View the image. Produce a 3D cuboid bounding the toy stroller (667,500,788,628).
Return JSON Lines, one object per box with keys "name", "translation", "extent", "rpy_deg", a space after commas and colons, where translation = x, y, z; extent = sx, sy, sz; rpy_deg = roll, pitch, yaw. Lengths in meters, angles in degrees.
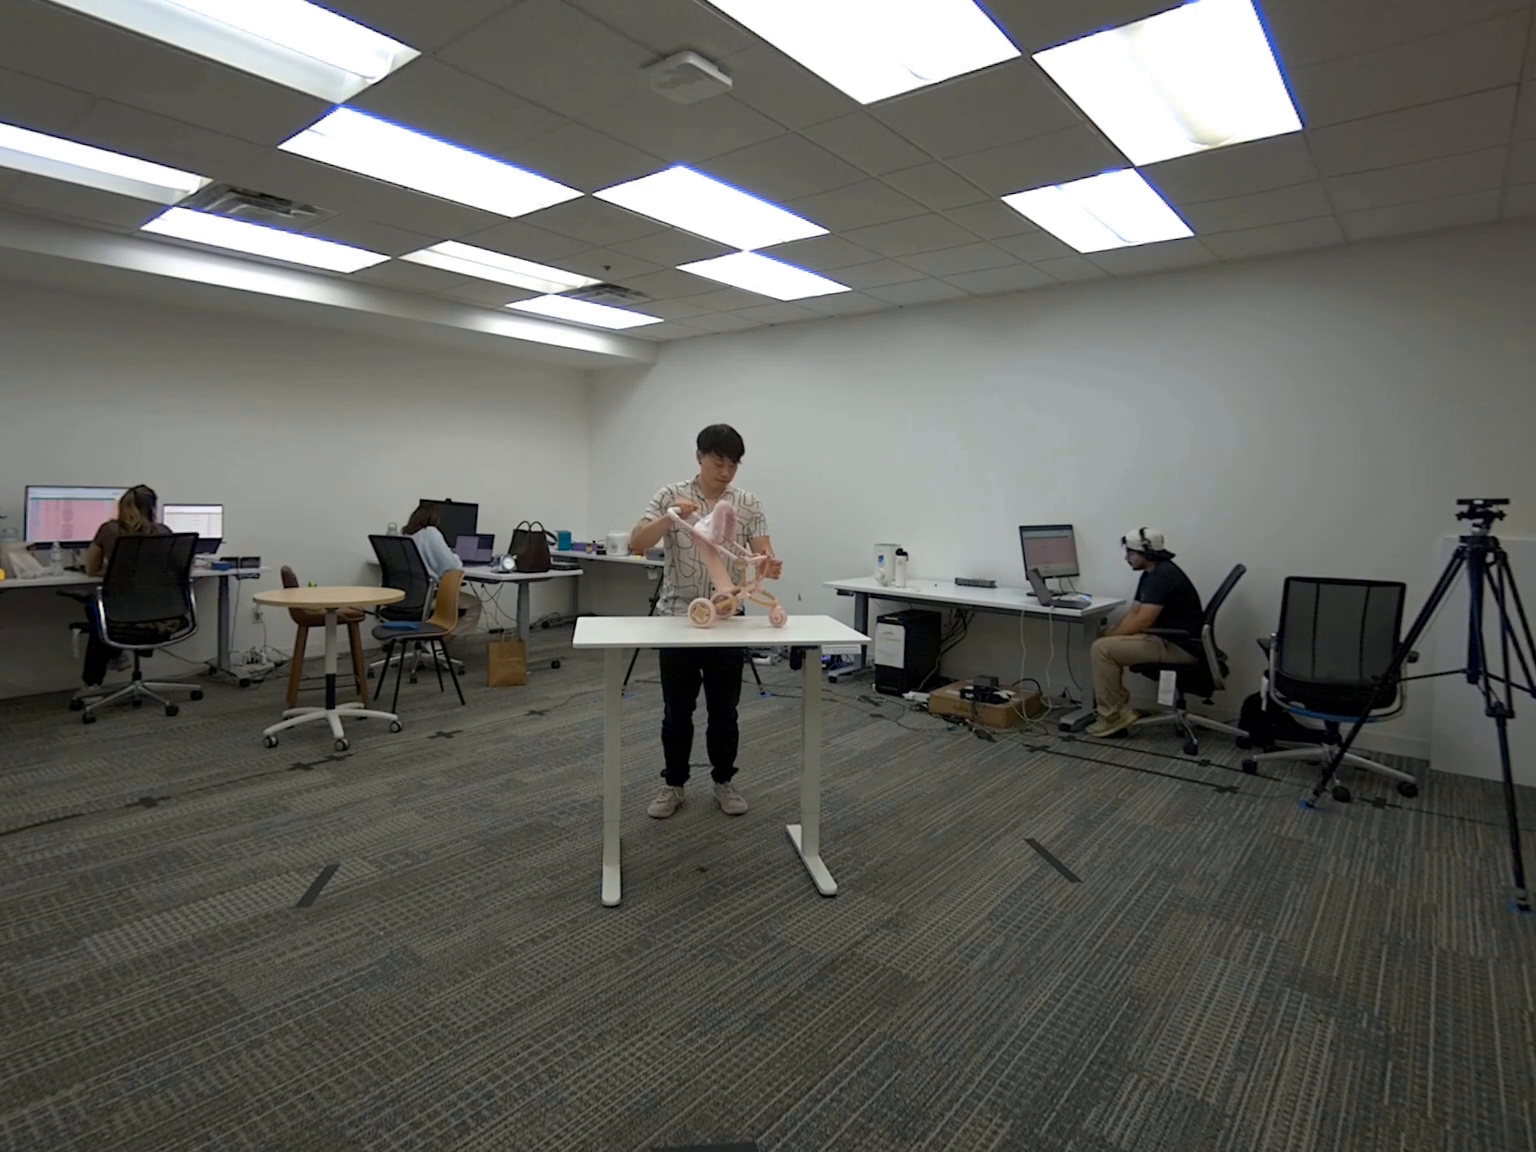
{"name": "toy stroller", "translation": [-0.162, -0.047, 3.193], "extent": [0.347, 0.537, 0.276], "rpy_deg": [-14, -2, 22]}
